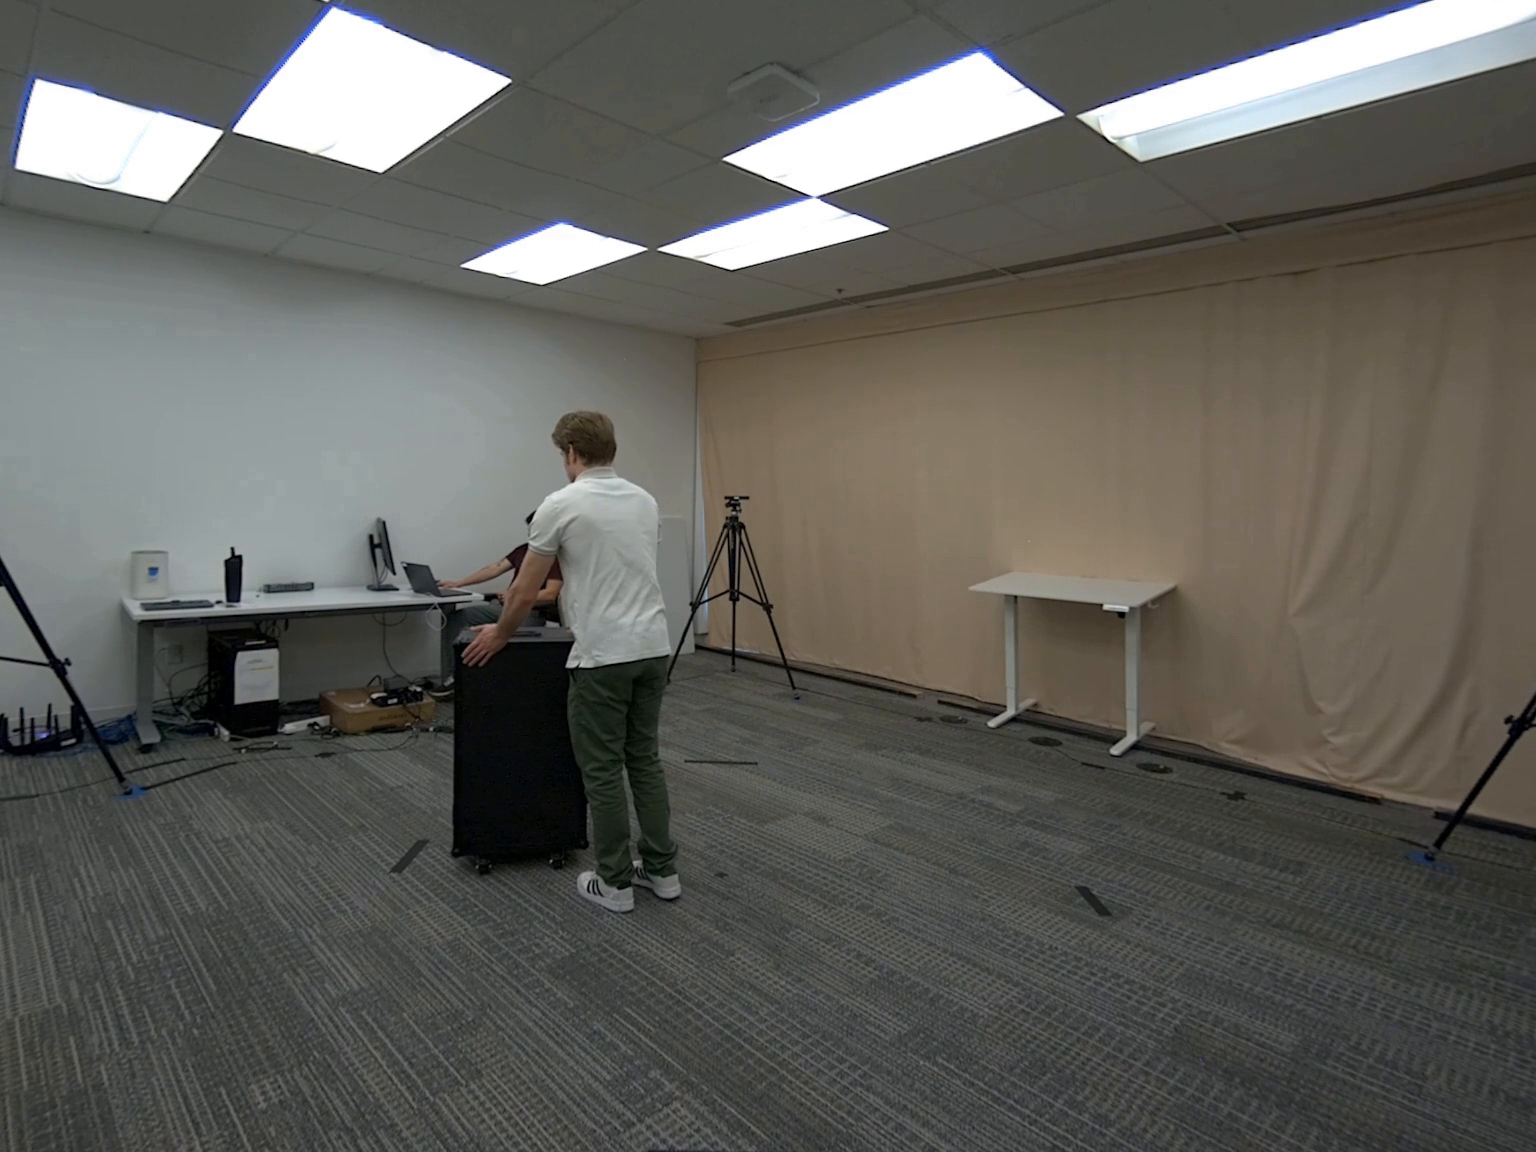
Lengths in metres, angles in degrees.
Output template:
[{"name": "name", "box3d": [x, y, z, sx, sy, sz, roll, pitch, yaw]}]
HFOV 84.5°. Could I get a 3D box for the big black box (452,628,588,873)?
[{"name": "big black box", "box3d": [-0.955, 0.649, 3.244, 0.518, 0.866, 0.390, 1, 3, -14]}]
